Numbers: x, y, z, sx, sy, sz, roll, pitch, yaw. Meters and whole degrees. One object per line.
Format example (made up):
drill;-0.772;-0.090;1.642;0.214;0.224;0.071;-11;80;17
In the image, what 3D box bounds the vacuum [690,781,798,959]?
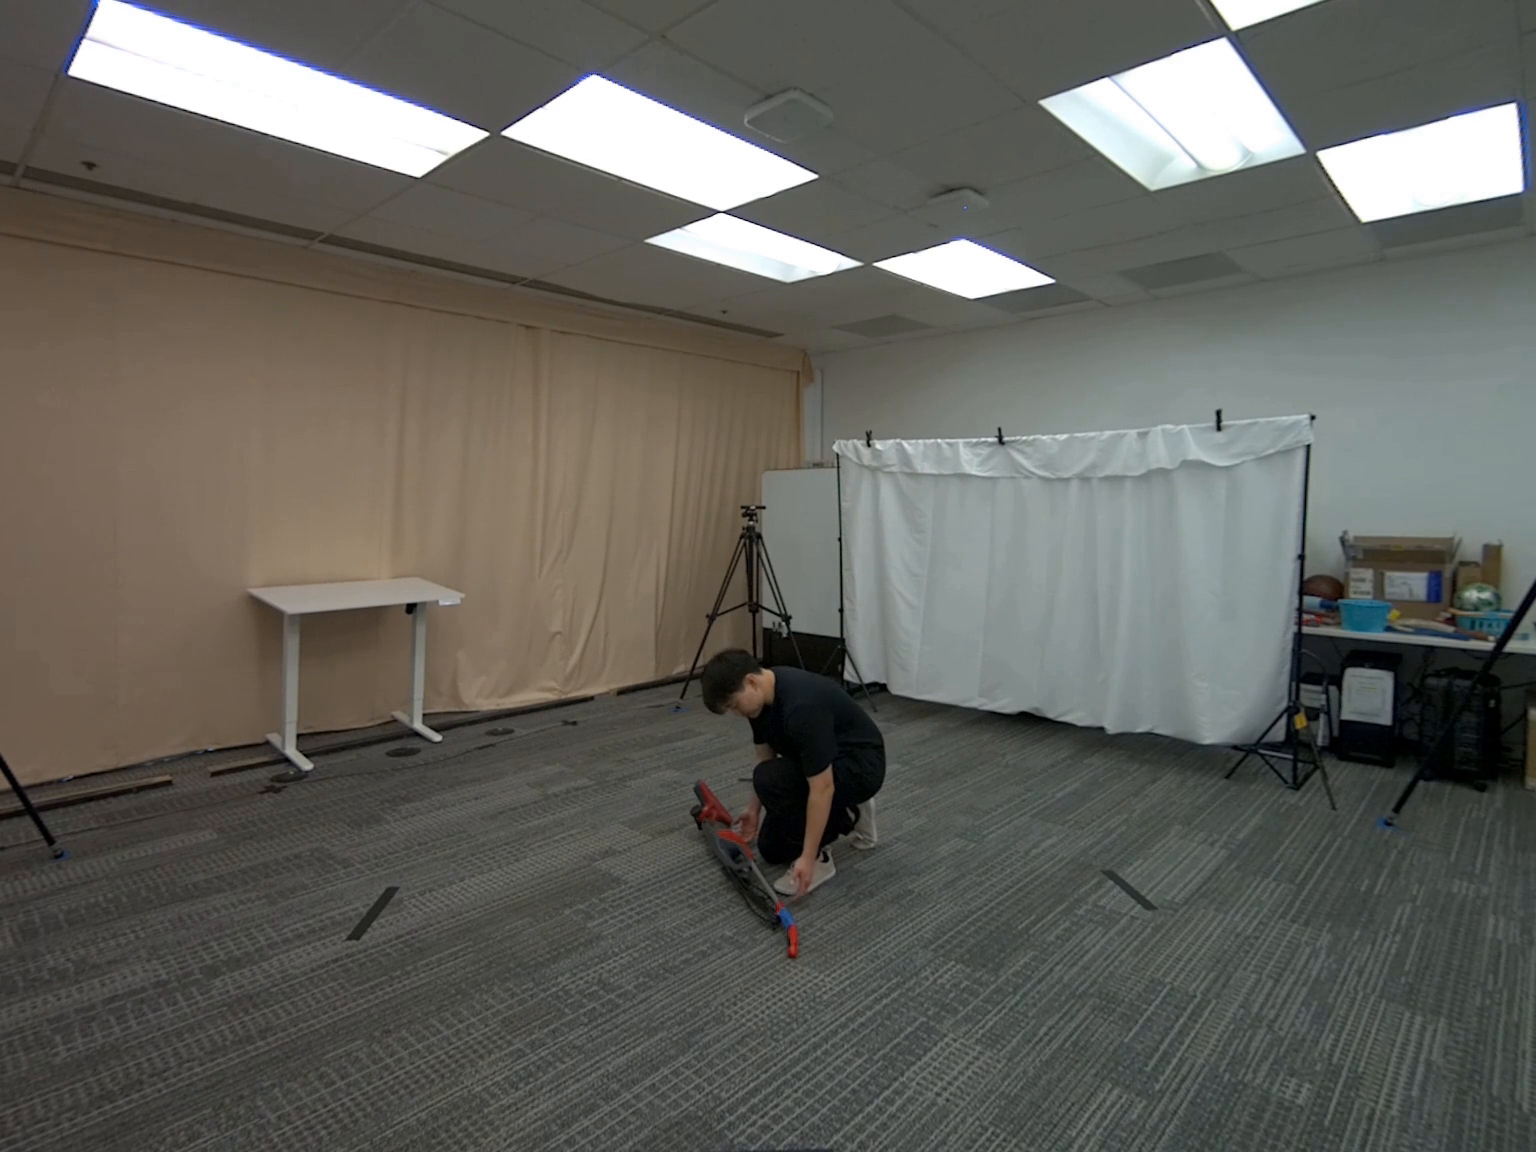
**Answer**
vacuum;-0.079;1.074;3.101;0.143;0.248;1.072;-38;17;-10
